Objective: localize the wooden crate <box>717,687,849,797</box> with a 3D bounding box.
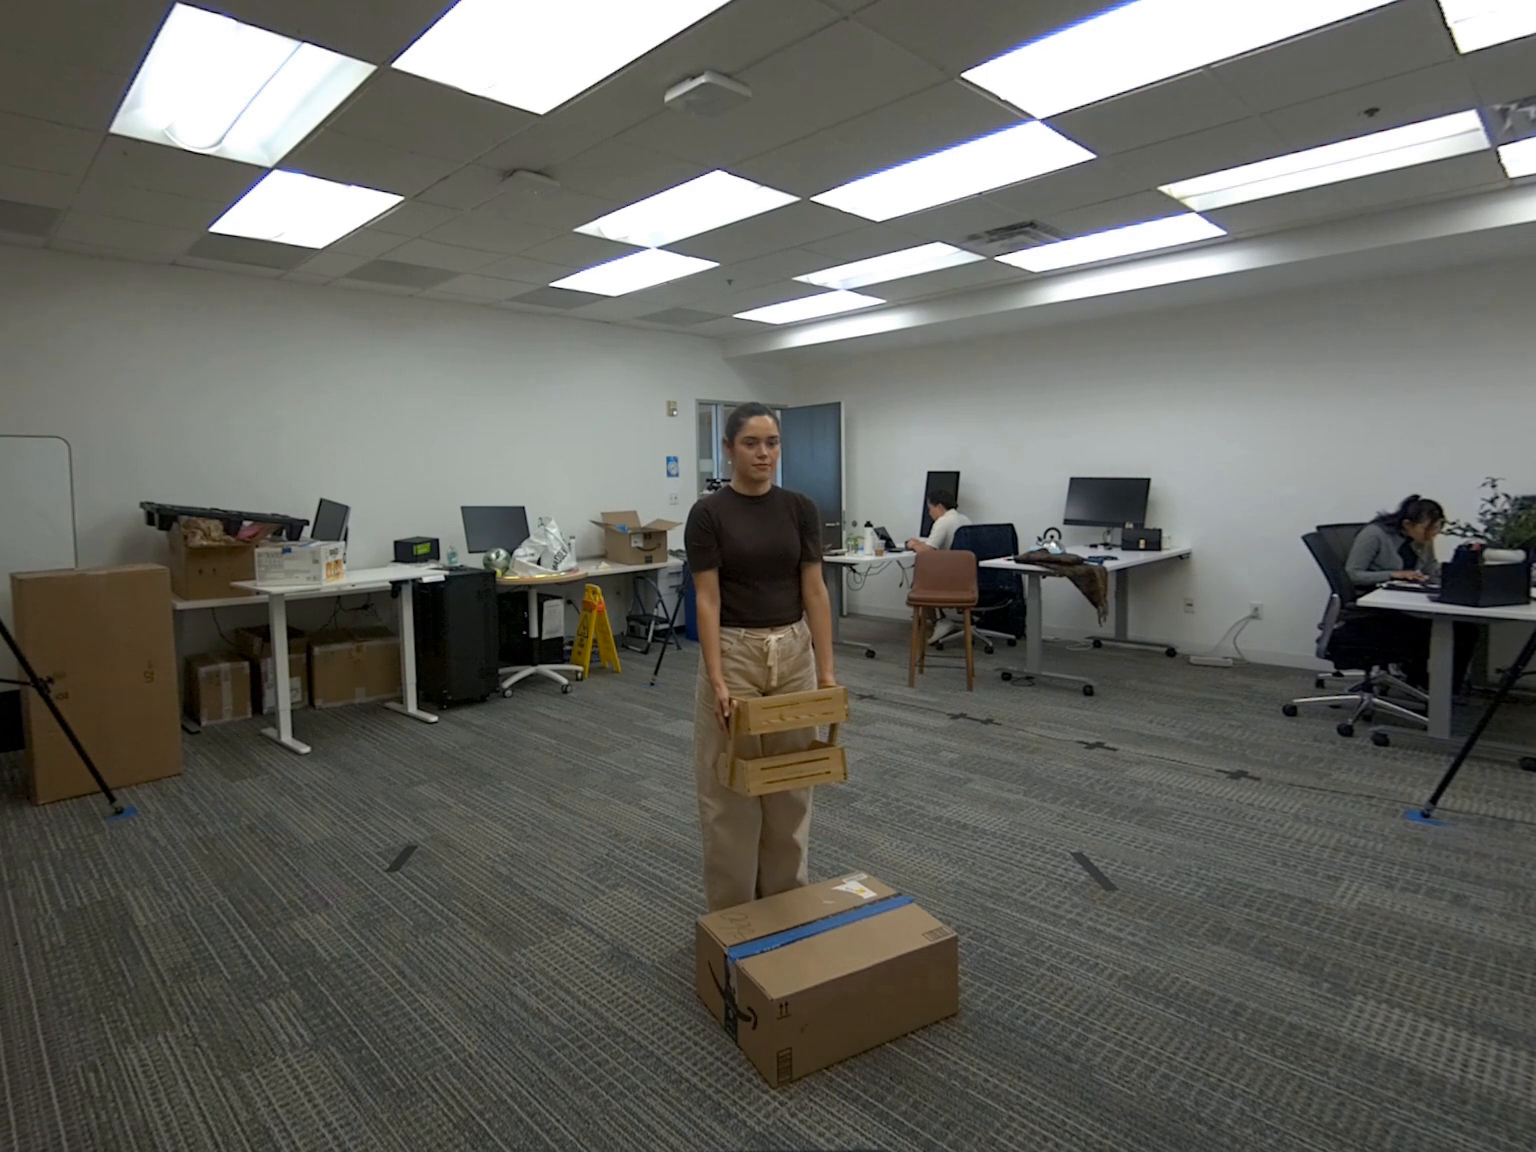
[{"bbox_3d":[0.035,0.453,2.417,0.319,0.274,0.306,-5,-3,-20],"label":"wooden crate"}]
